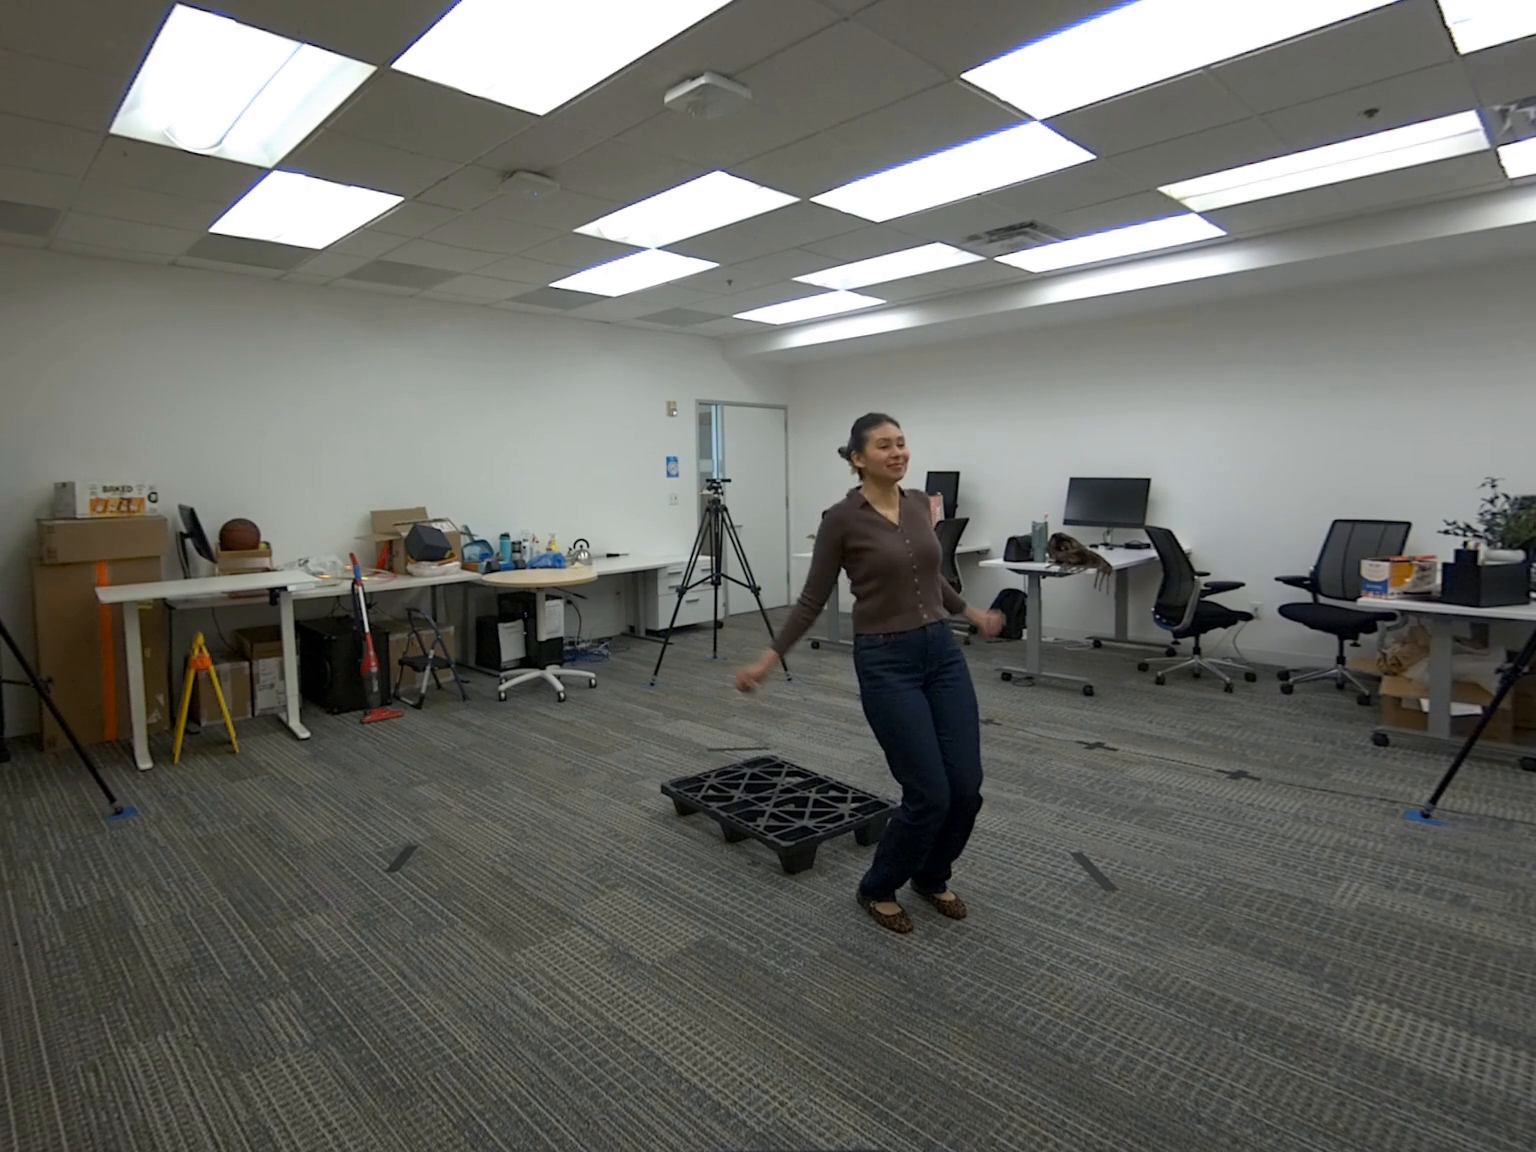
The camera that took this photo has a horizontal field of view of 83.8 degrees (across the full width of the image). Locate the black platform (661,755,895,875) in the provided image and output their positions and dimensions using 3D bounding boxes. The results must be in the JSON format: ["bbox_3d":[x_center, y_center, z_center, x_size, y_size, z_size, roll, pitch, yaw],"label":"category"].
[{"bbox_3d":[0.031,0.941,3.427,0.590,0.142,0.830,-7,8,-38],"label":"black platform"}]
